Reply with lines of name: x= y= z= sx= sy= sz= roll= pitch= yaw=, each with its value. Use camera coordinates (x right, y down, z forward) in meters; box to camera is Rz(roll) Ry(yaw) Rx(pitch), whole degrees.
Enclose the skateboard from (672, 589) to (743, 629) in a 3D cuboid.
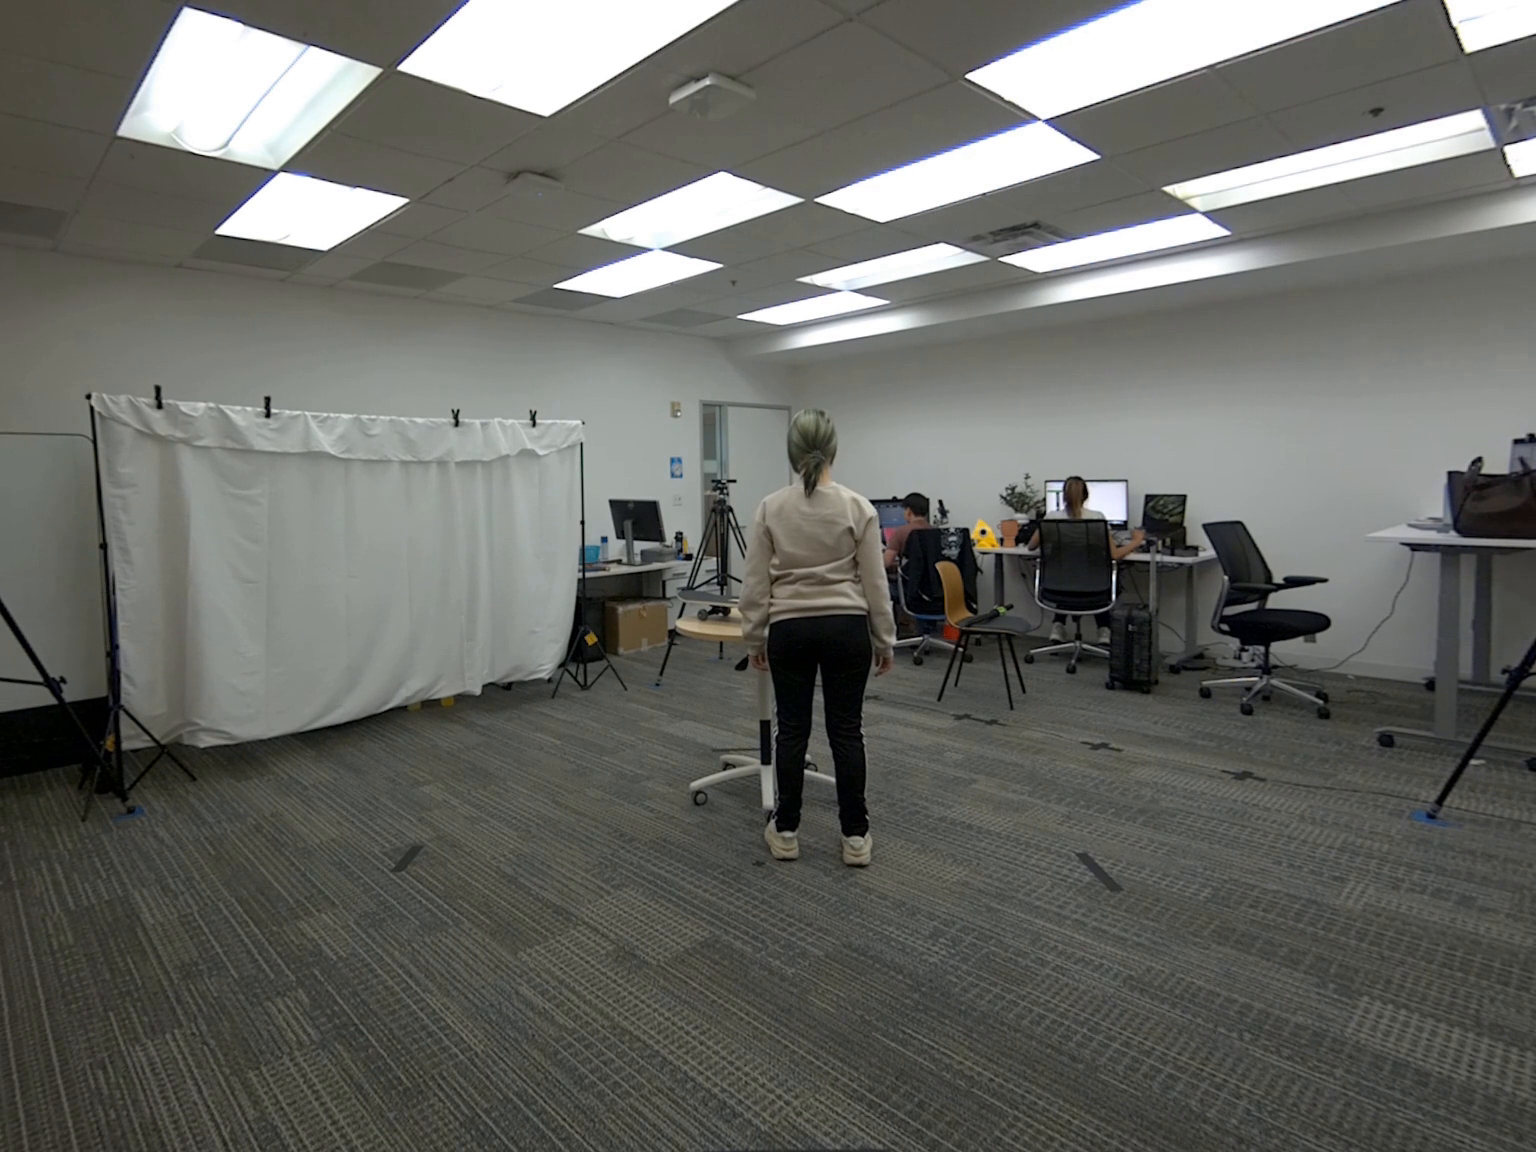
skateboard: x=-0.074 y=0.148 z=3.695 sx=0.809 sy=0.110 sz=0.189 roll=3 pitch=10 yaw=42
